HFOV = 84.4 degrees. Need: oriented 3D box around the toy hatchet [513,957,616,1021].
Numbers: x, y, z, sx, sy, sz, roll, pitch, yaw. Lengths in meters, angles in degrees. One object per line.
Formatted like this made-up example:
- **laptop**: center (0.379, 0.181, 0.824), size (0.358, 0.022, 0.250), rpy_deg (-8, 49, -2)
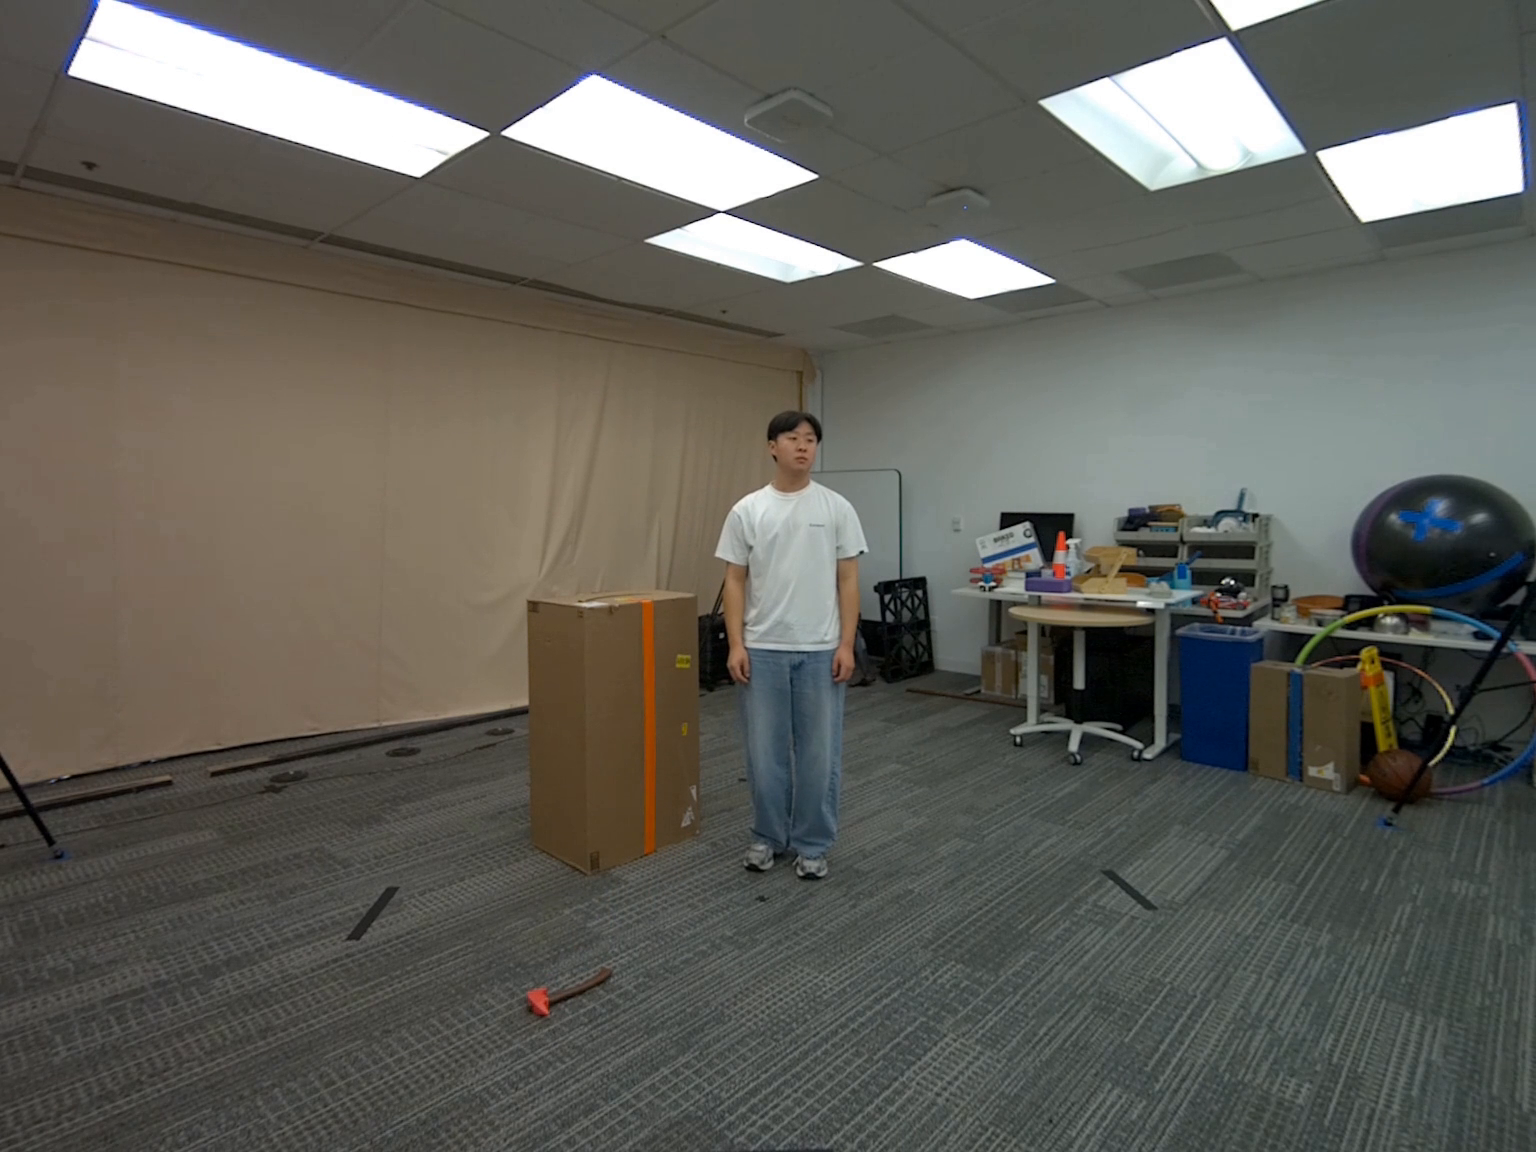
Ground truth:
- **toy hatchet**: center (-0.580, 1.174, 2.421), size (0.135, 0.029, 0.262), rpy_deg (0, 2, 35)
